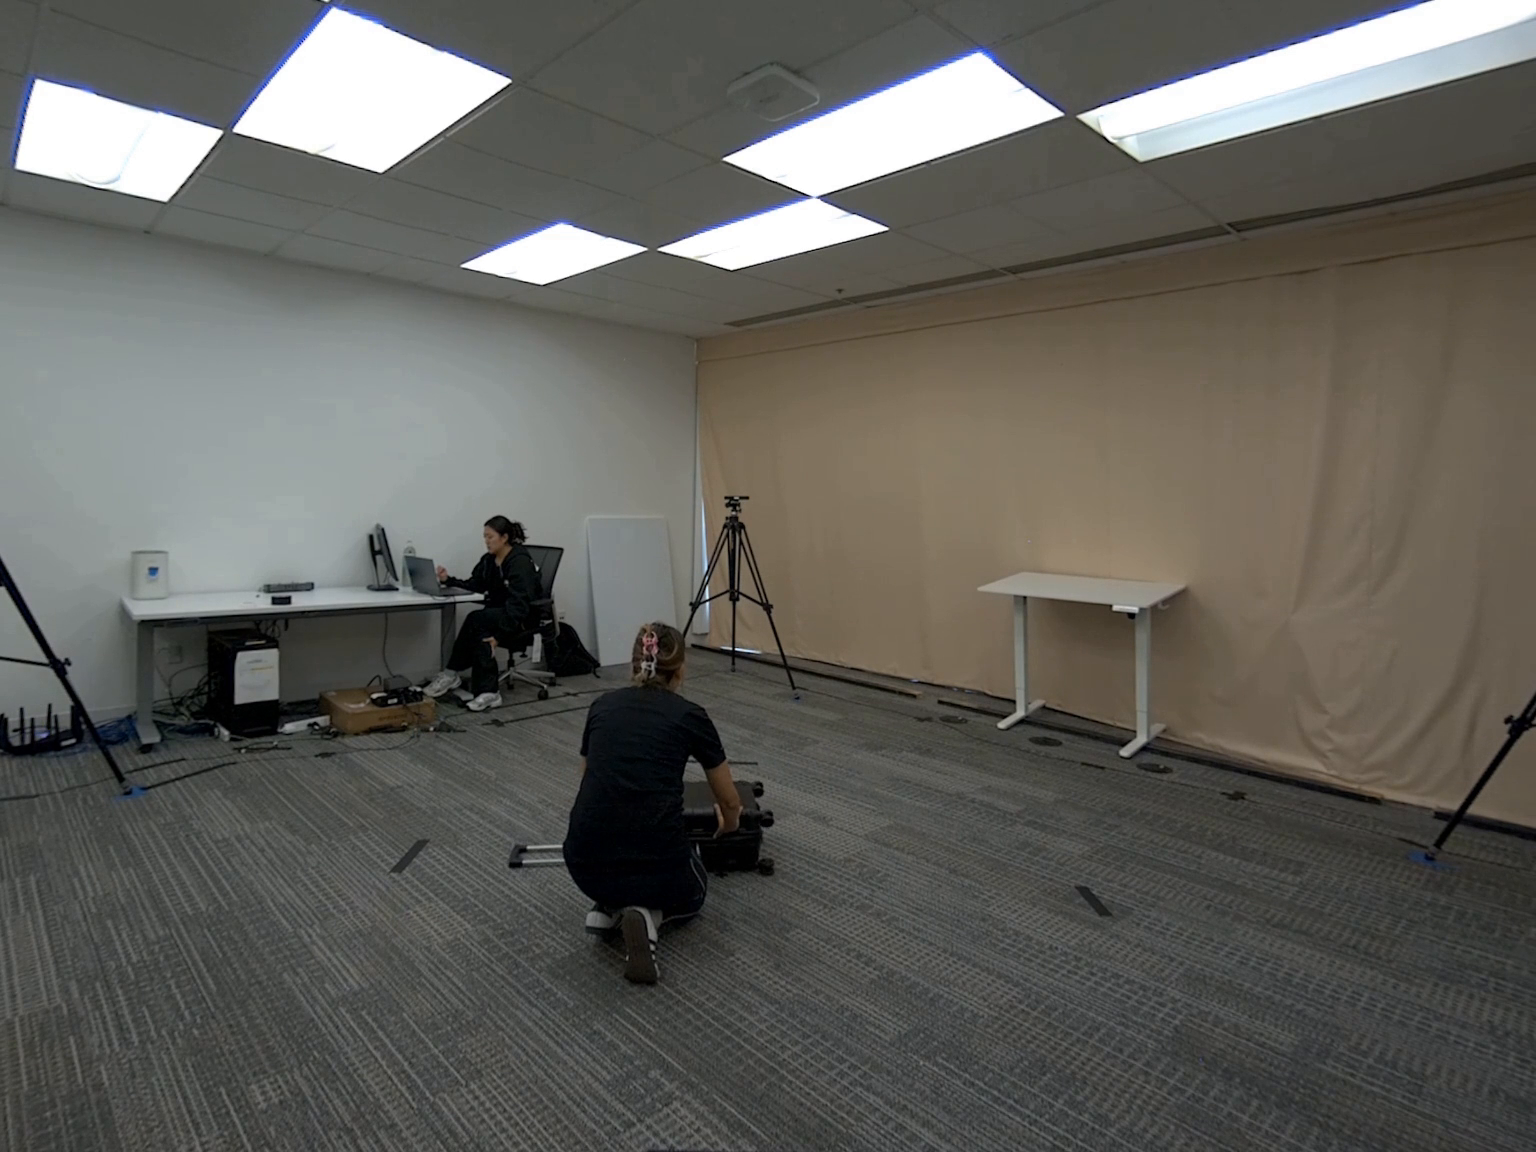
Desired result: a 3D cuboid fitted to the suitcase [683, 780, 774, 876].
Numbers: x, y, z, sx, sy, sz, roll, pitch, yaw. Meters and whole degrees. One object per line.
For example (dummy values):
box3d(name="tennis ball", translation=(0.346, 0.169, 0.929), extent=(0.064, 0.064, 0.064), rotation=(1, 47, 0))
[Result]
box3d(name="suitcase", translation=(-0.482, 0.962, 3.244), extent=(0.974, 0.256, 0.387), rotation=(2, 5, -5))
